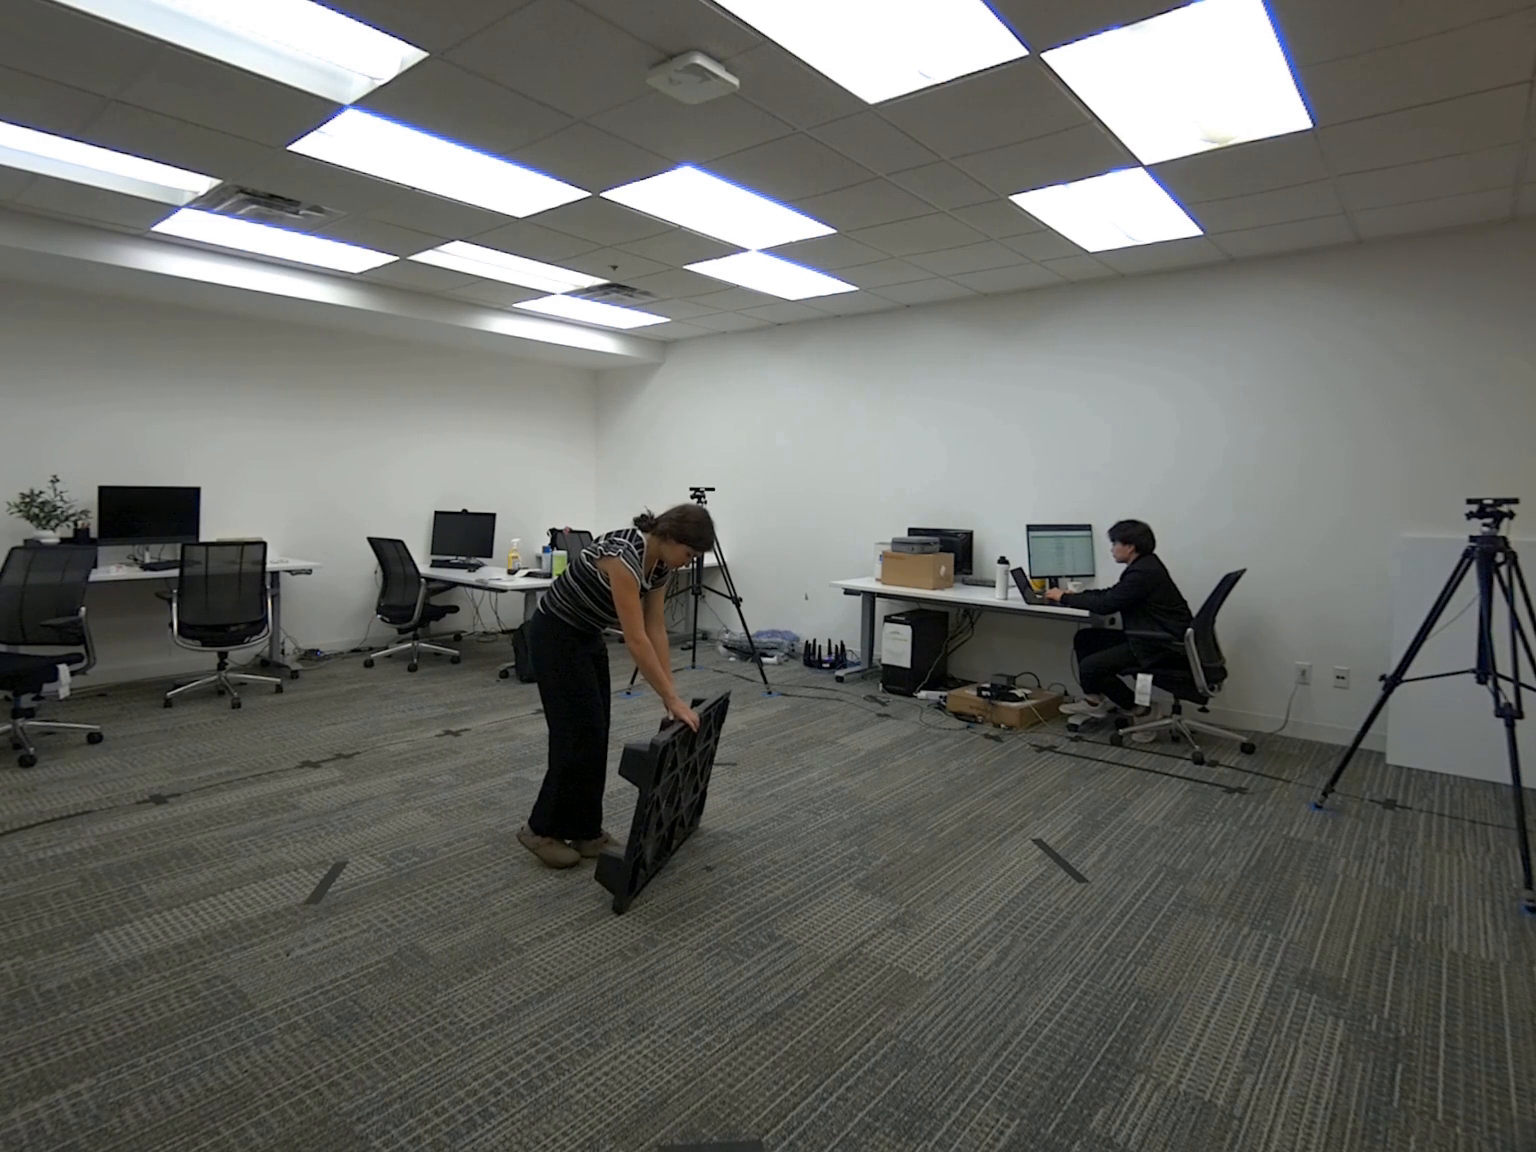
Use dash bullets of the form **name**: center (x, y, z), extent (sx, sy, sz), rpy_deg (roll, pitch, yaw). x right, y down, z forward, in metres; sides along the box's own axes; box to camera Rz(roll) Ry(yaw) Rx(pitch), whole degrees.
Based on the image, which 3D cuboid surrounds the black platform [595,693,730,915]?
- **black platform**: center (-0.378, 0.762, 3.108), extent (0.146, 0.602, 0.795), rpy_deg (16, 8, 12)
